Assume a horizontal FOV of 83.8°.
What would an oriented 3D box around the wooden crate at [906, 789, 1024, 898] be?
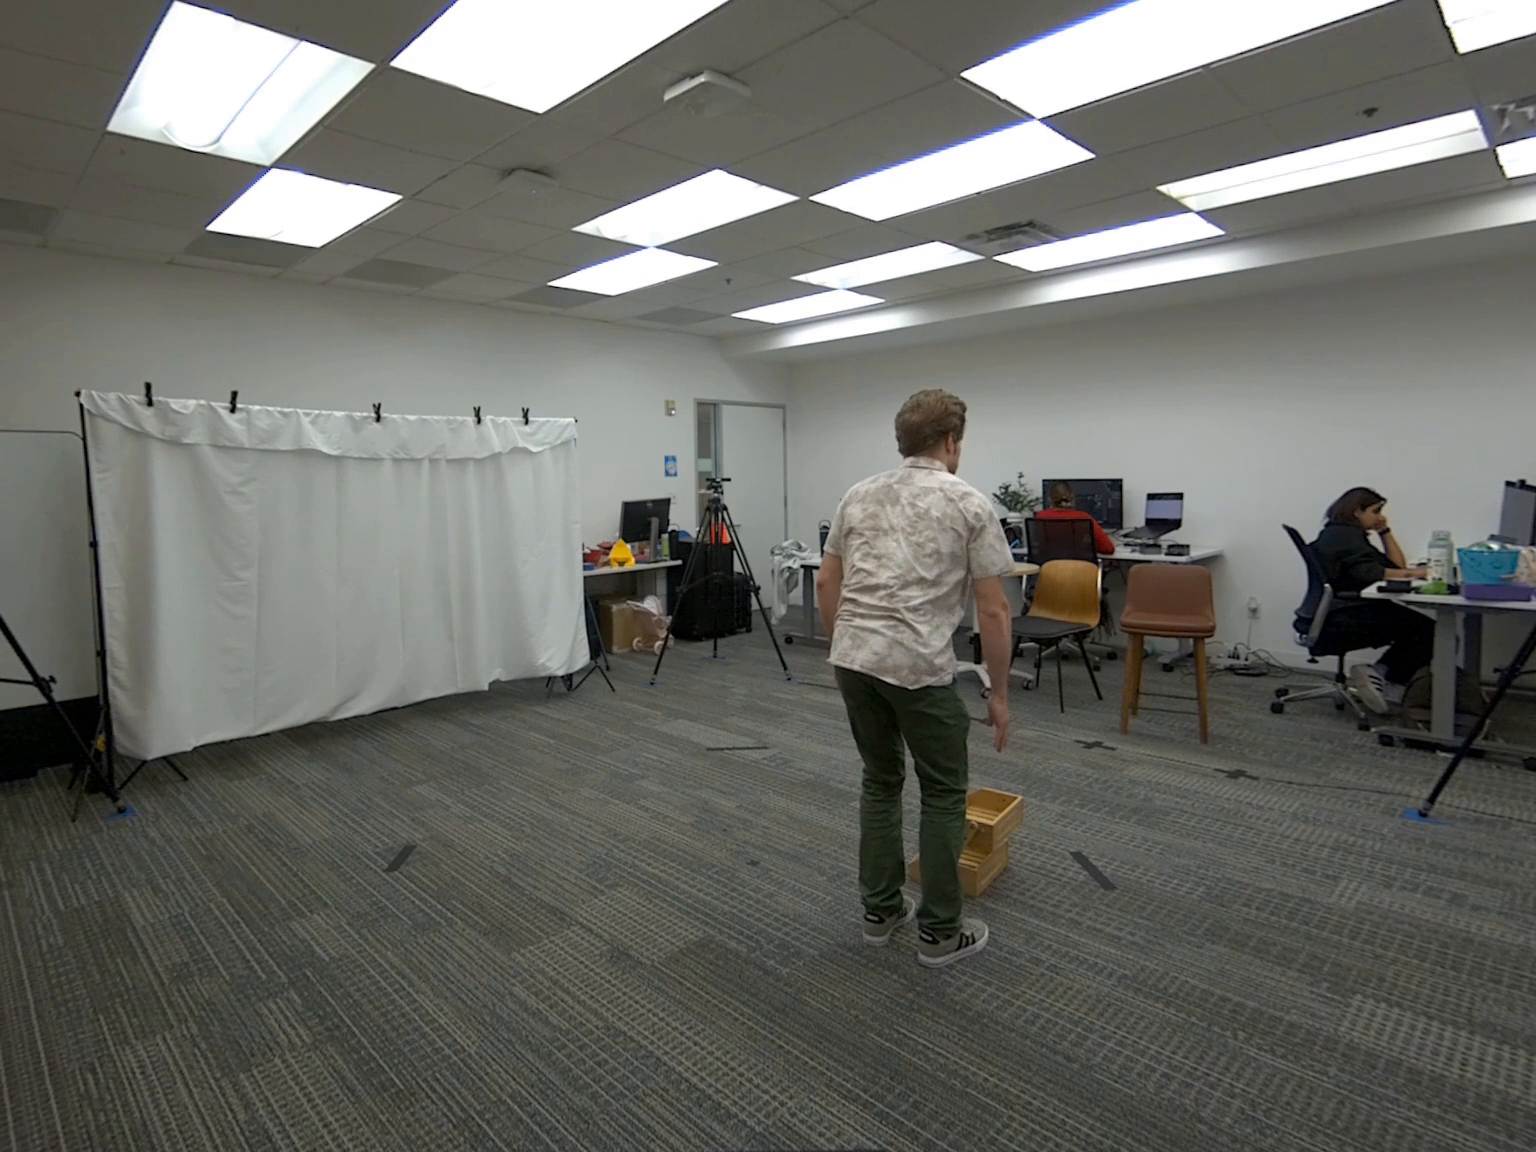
[{"bbox_3d":[0.697,0.910,2.991,0.311,0.272,0.316,4,7,36],"label":"wooden crate"}]
